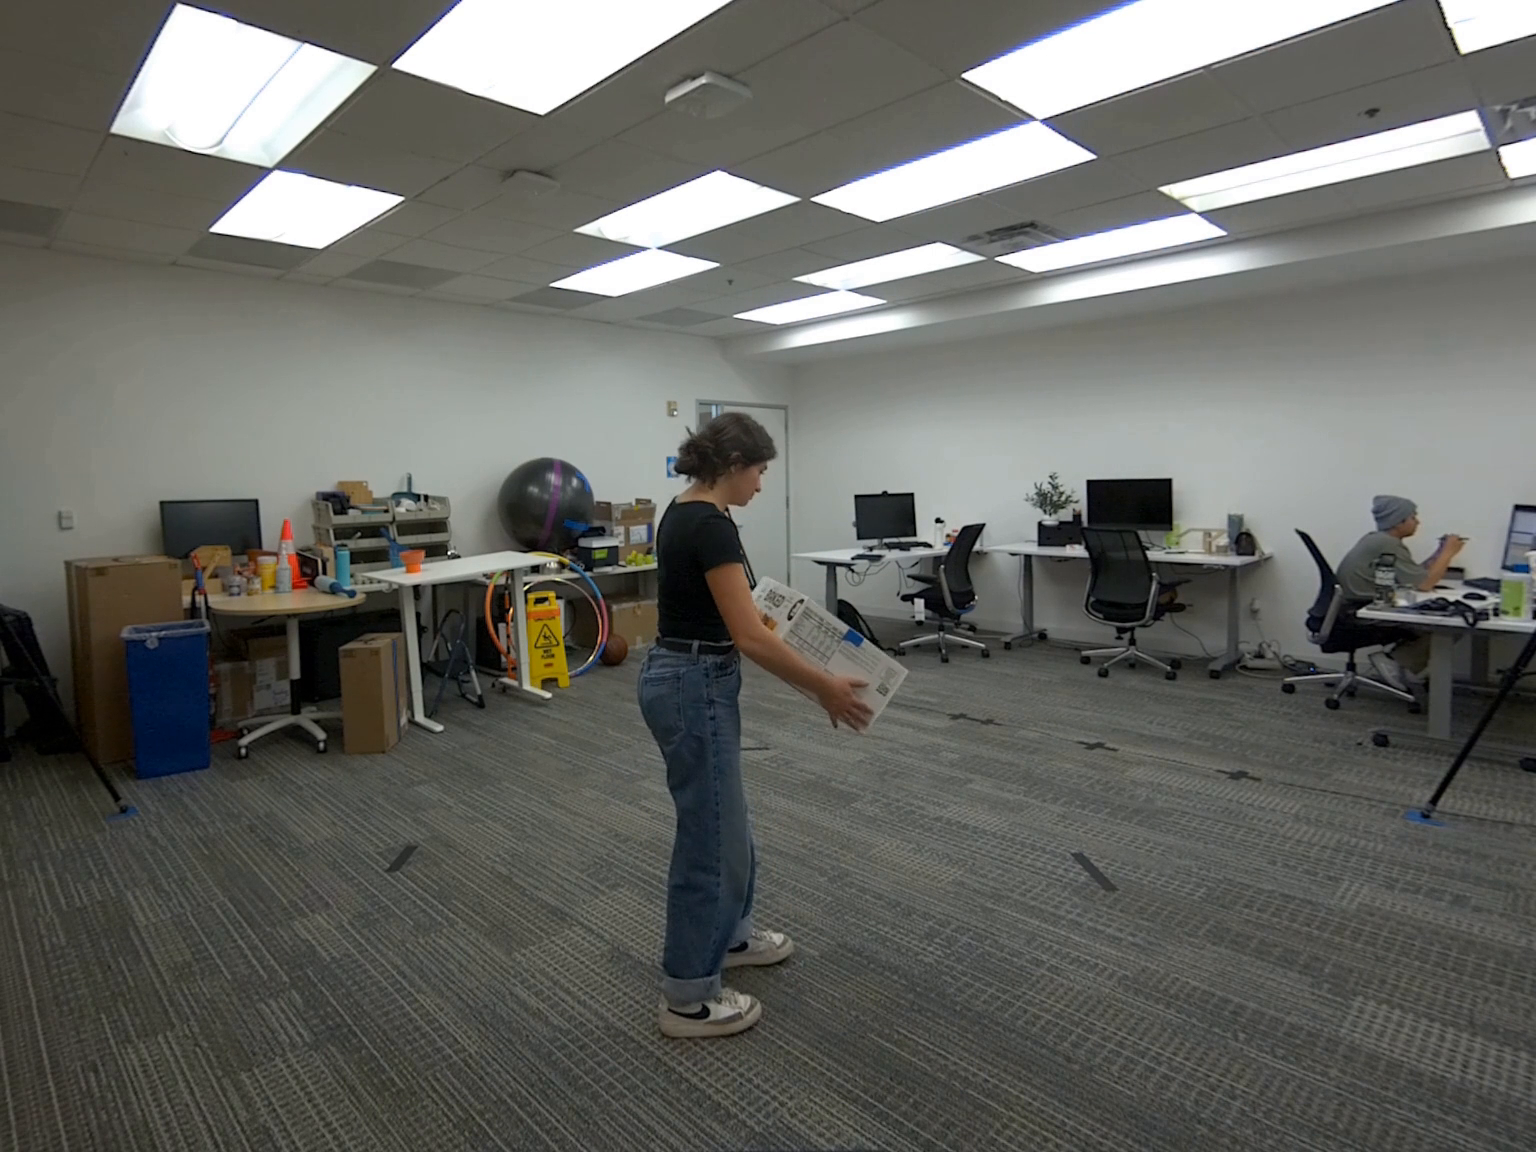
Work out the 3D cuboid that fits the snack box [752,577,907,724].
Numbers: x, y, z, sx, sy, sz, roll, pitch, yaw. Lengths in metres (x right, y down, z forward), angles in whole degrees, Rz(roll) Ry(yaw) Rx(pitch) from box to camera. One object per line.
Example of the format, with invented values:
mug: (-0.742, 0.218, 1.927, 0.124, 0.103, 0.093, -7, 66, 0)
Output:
snack box: (0.118, 0.205, 2.315, 0.334, 0.206, 0.412, 36, -3, -15)
